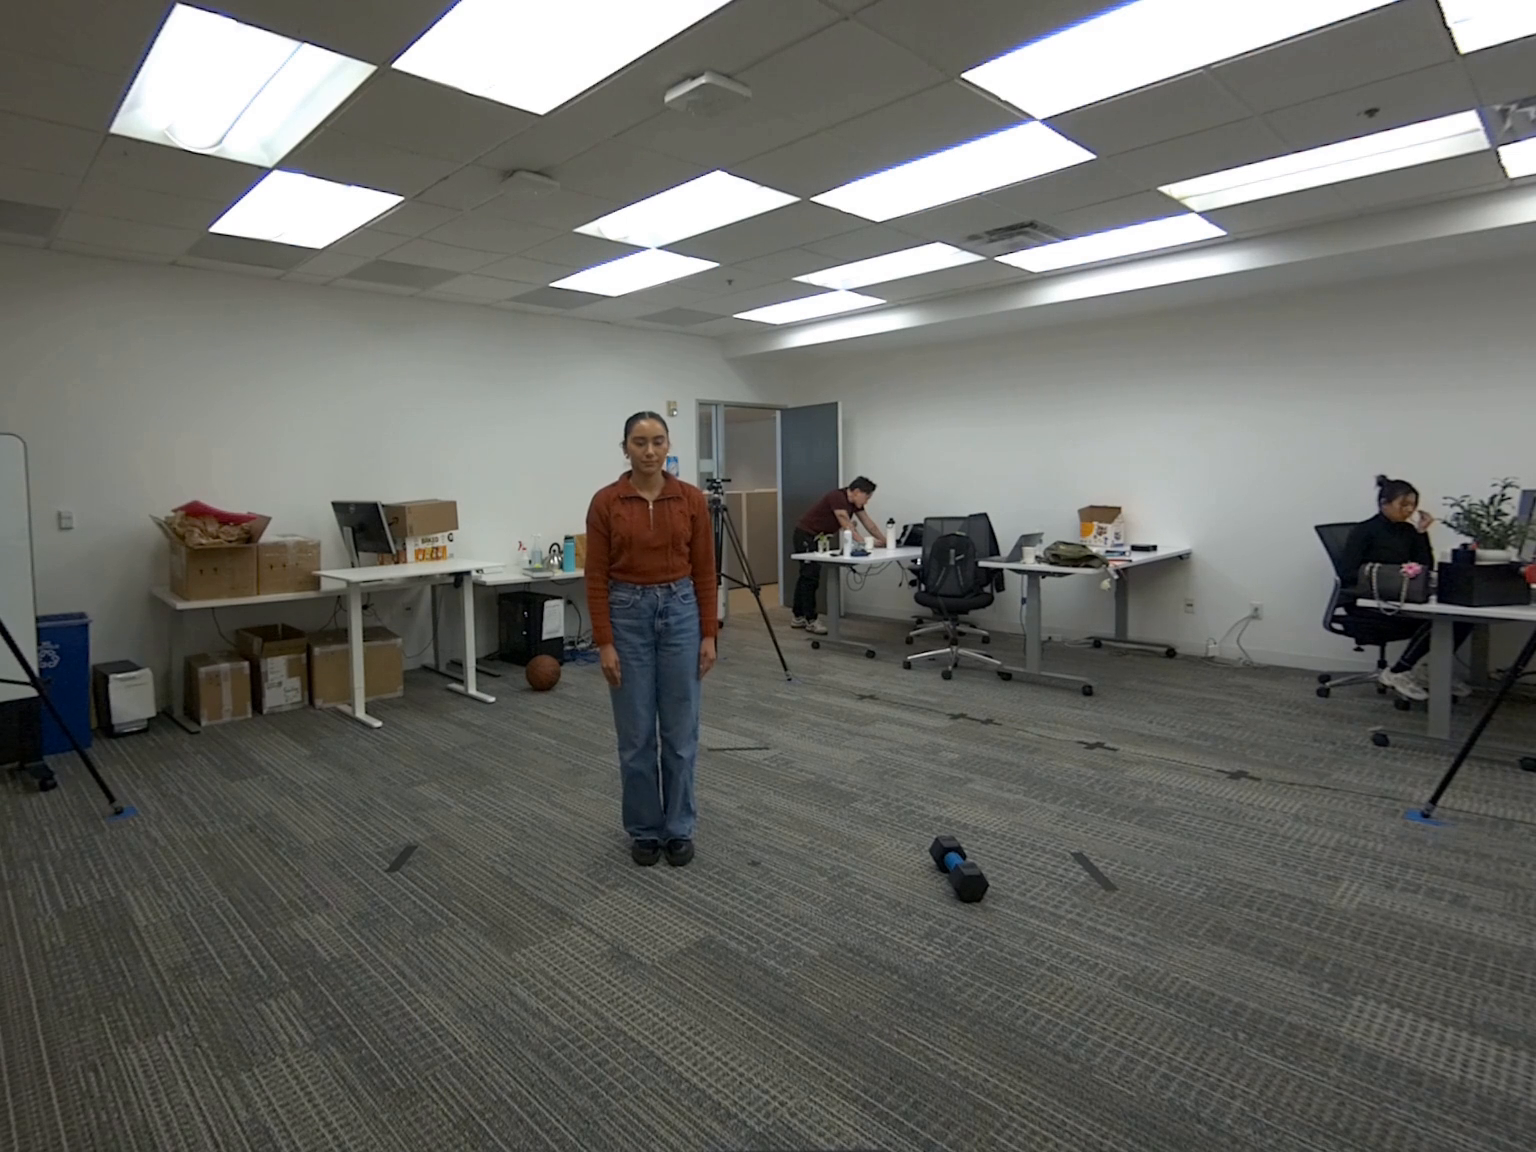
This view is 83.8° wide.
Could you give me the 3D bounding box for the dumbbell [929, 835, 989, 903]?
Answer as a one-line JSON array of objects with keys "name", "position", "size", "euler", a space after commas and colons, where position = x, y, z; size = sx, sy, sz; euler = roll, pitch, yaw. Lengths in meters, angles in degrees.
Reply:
[{"name": "dumbbell", "position": [0.658, 1.001, 2.921], "size": [0.109, 0.122, 0.295], "euler": [-31, 6, 0]}]
